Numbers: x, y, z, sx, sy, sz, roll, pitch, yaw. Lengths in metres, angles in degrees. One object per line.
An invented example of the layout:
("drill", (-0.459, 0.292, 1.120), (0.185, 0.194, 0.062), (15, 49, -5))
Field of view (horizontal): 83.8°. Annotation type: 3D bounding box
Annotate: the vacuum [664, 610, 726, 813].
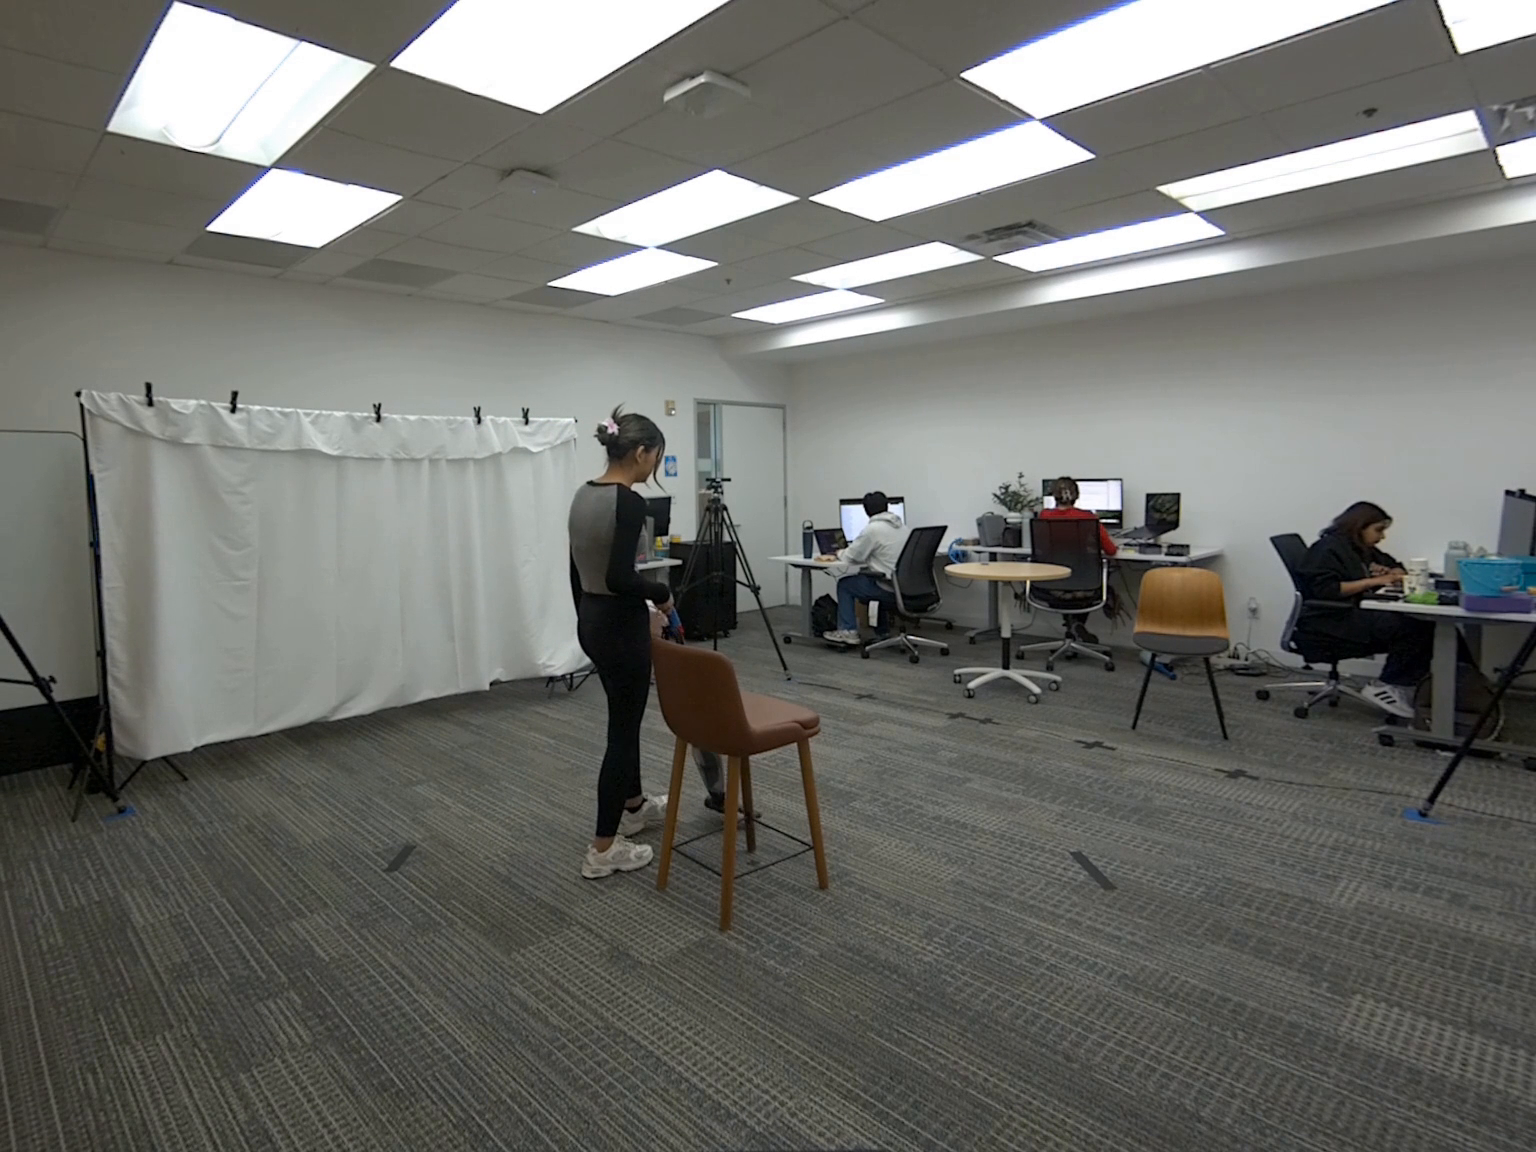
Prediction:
("vacuum", (-0.278, 0.491, 3.249), (0.260, 1.022, 0.143), (5, 32, 35))
